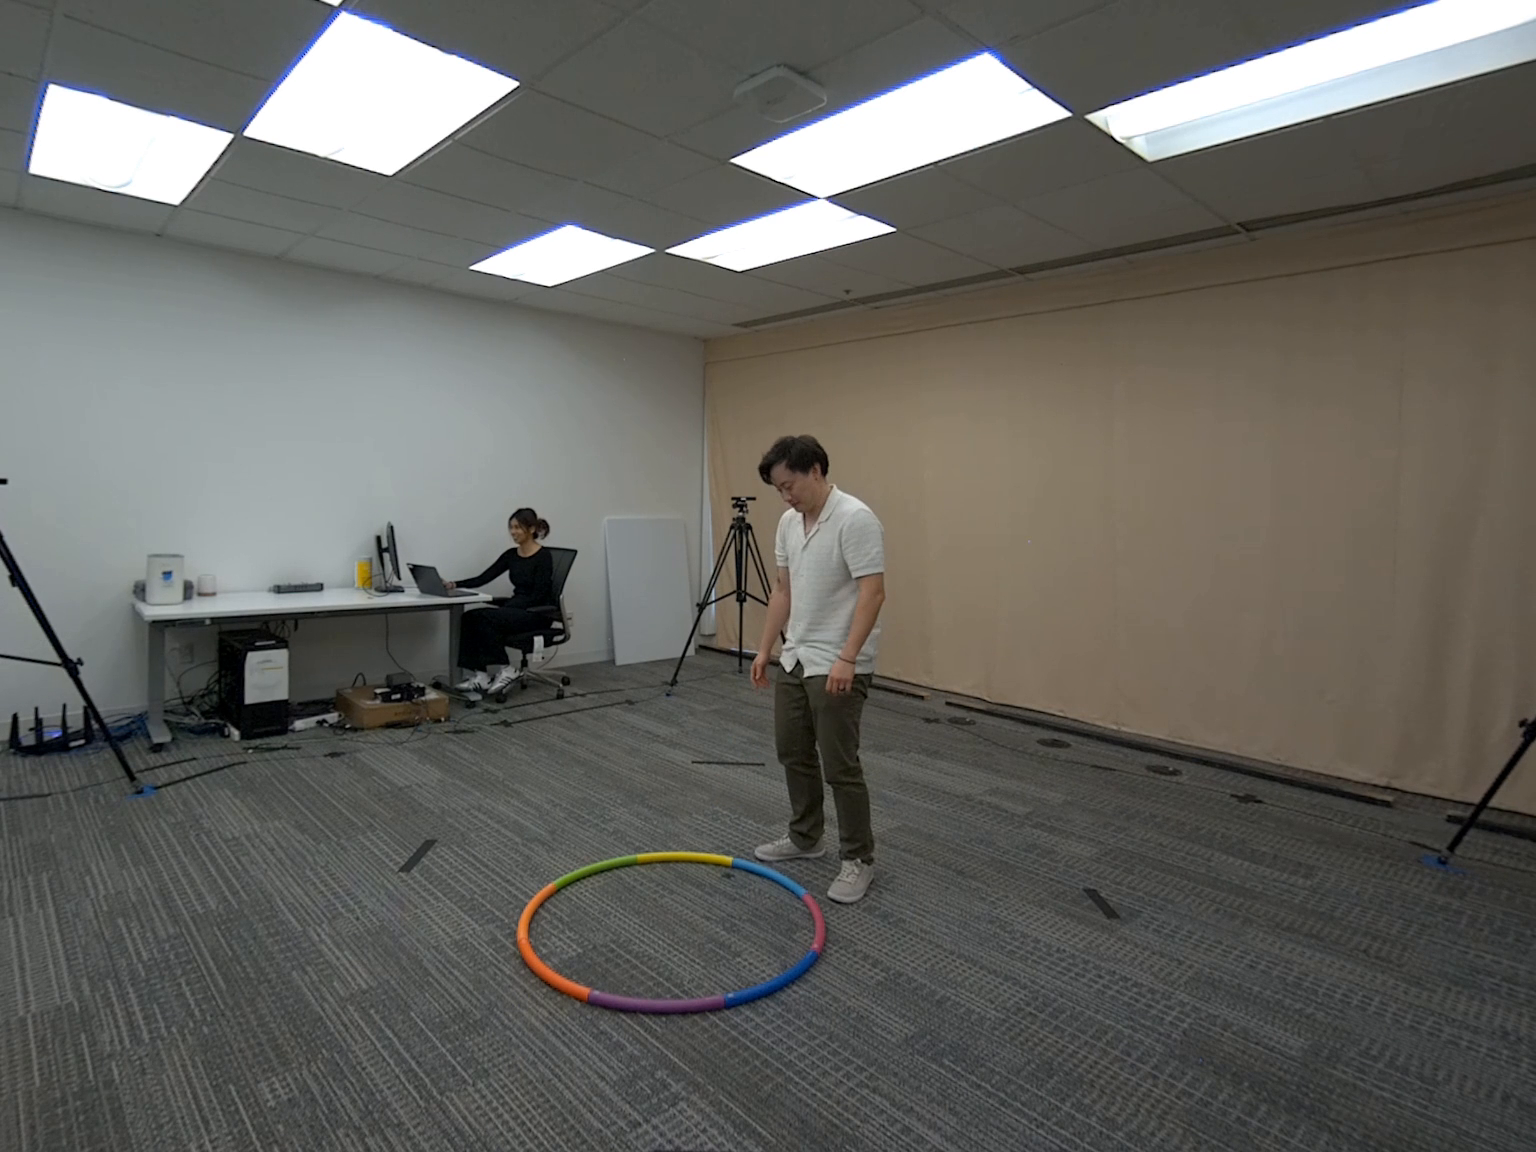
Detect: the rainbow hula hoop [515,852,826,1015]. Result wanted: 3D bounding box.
[{"bbox_3d":[-0.312,1.106,2.747,0.978,0.035,0.982,1,5,-1],"label":"rainbow hula hoop"}]
